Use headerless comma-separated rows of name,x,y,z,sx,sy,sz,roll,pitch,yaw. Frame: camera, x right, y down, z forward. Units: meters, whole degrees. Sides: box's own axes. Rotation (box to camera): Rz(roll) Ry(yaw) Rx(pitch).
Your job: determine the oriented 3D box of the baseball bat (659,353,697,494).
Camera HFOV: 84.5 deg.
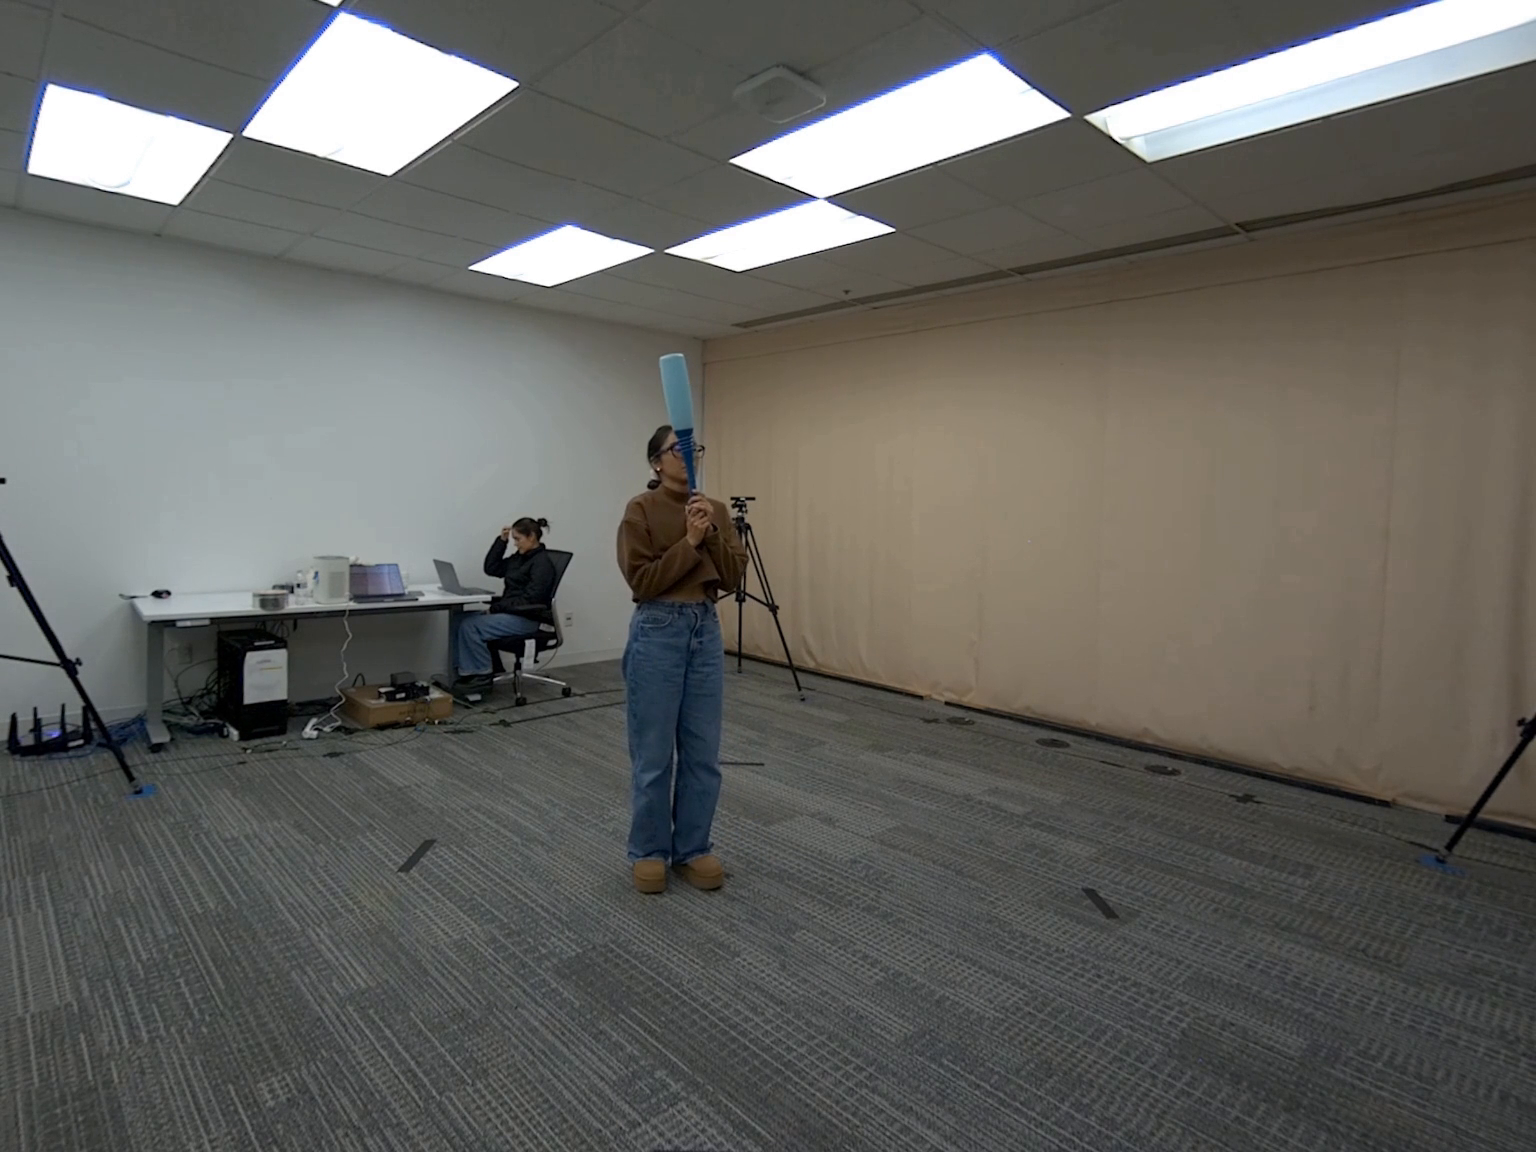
baseball bat,-0.290,-0.479,2.850,0.089,0.539,0.089,-8,8,0
